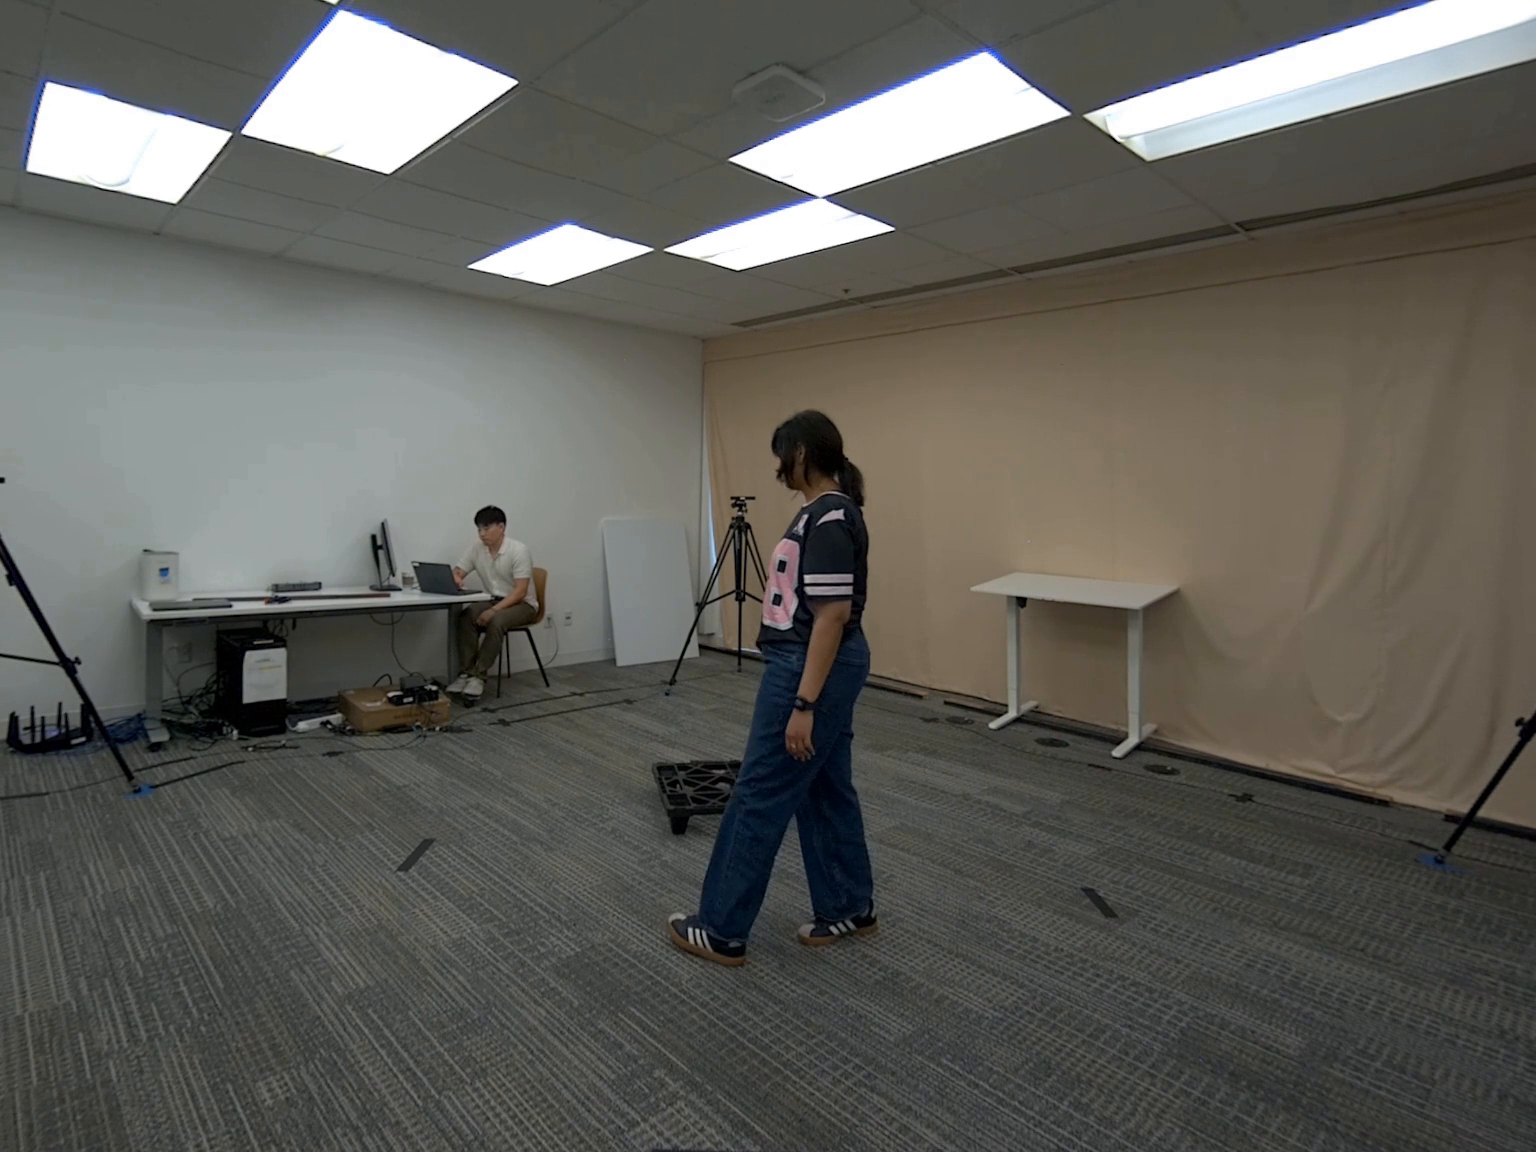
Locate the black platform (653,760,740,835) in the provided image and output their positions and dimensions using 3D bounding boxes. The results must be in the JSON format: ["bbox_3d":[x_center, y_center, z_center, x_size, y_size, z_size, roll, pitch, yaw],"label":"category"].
[{"bbox_3d":[-0.095,0.981,3.761,0.798,0.143,0.613,0,6,-12],"label":"black platform"}]
